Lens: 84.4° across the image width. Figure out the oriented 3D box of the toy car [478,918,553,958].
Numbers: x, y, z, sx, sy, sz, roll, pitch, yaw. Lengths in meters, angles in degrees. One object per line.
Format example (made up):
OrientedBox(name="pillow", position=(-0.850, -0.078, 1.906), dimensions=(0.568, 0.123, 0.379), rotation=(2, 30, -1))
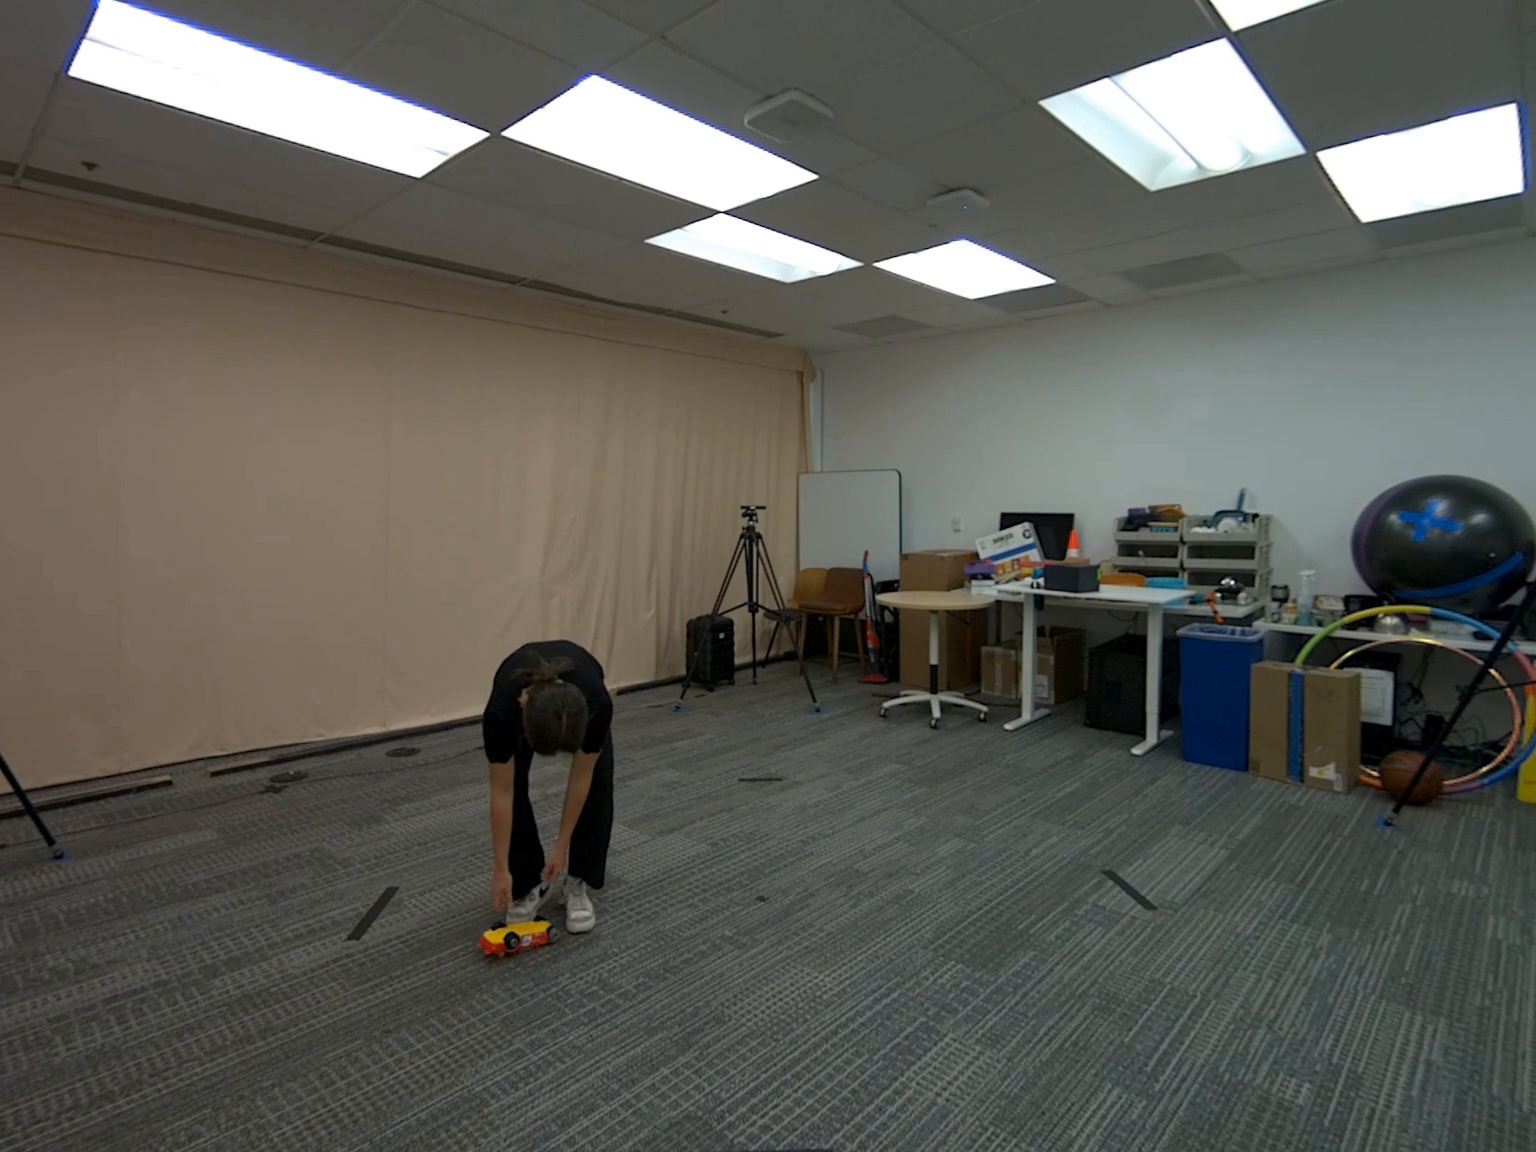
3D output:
OrientedBox(name="toy car", position=(-0.787, 1.135, 2.656), dimensions=(0.247, 0.083, 0.134), rotation=(-5, 6, -42))
